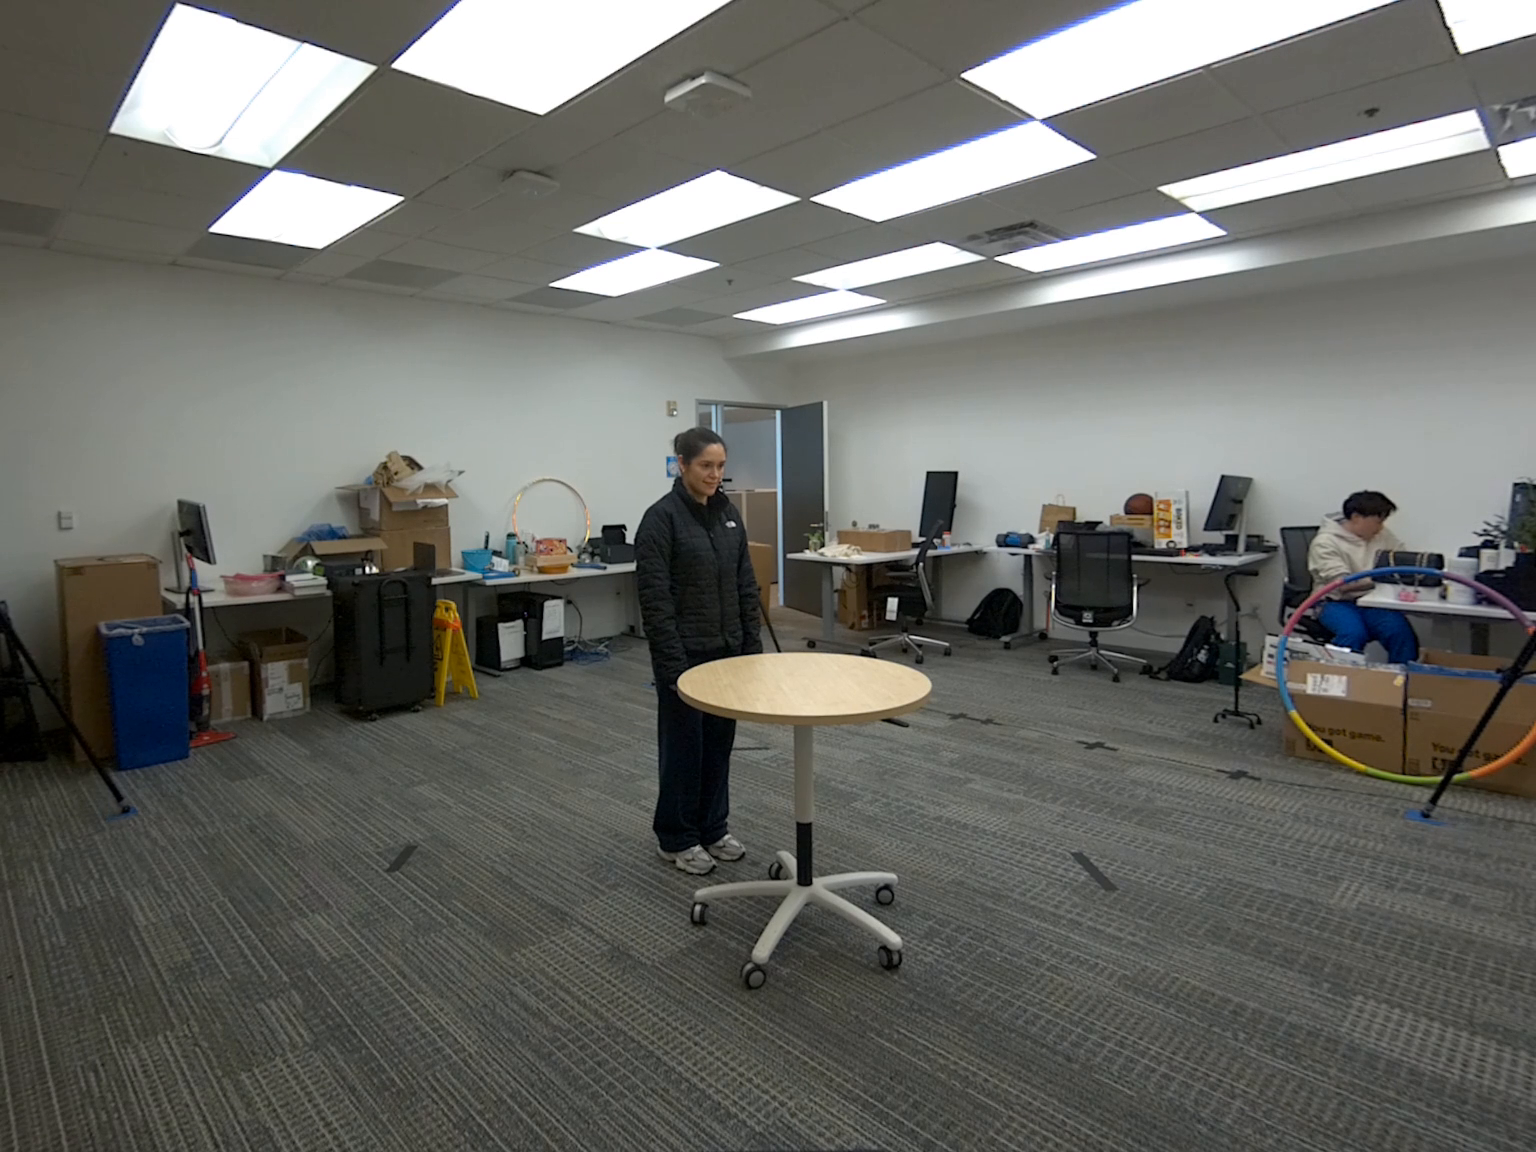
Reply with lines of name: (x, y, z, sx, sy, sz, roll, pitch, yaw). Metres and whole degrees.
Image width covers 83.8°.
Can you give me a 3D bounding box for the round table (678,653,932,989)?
round table: (0.115, 0.702, 2.656, 0.784, 0.783, 0.790, -1, 6, -2)
